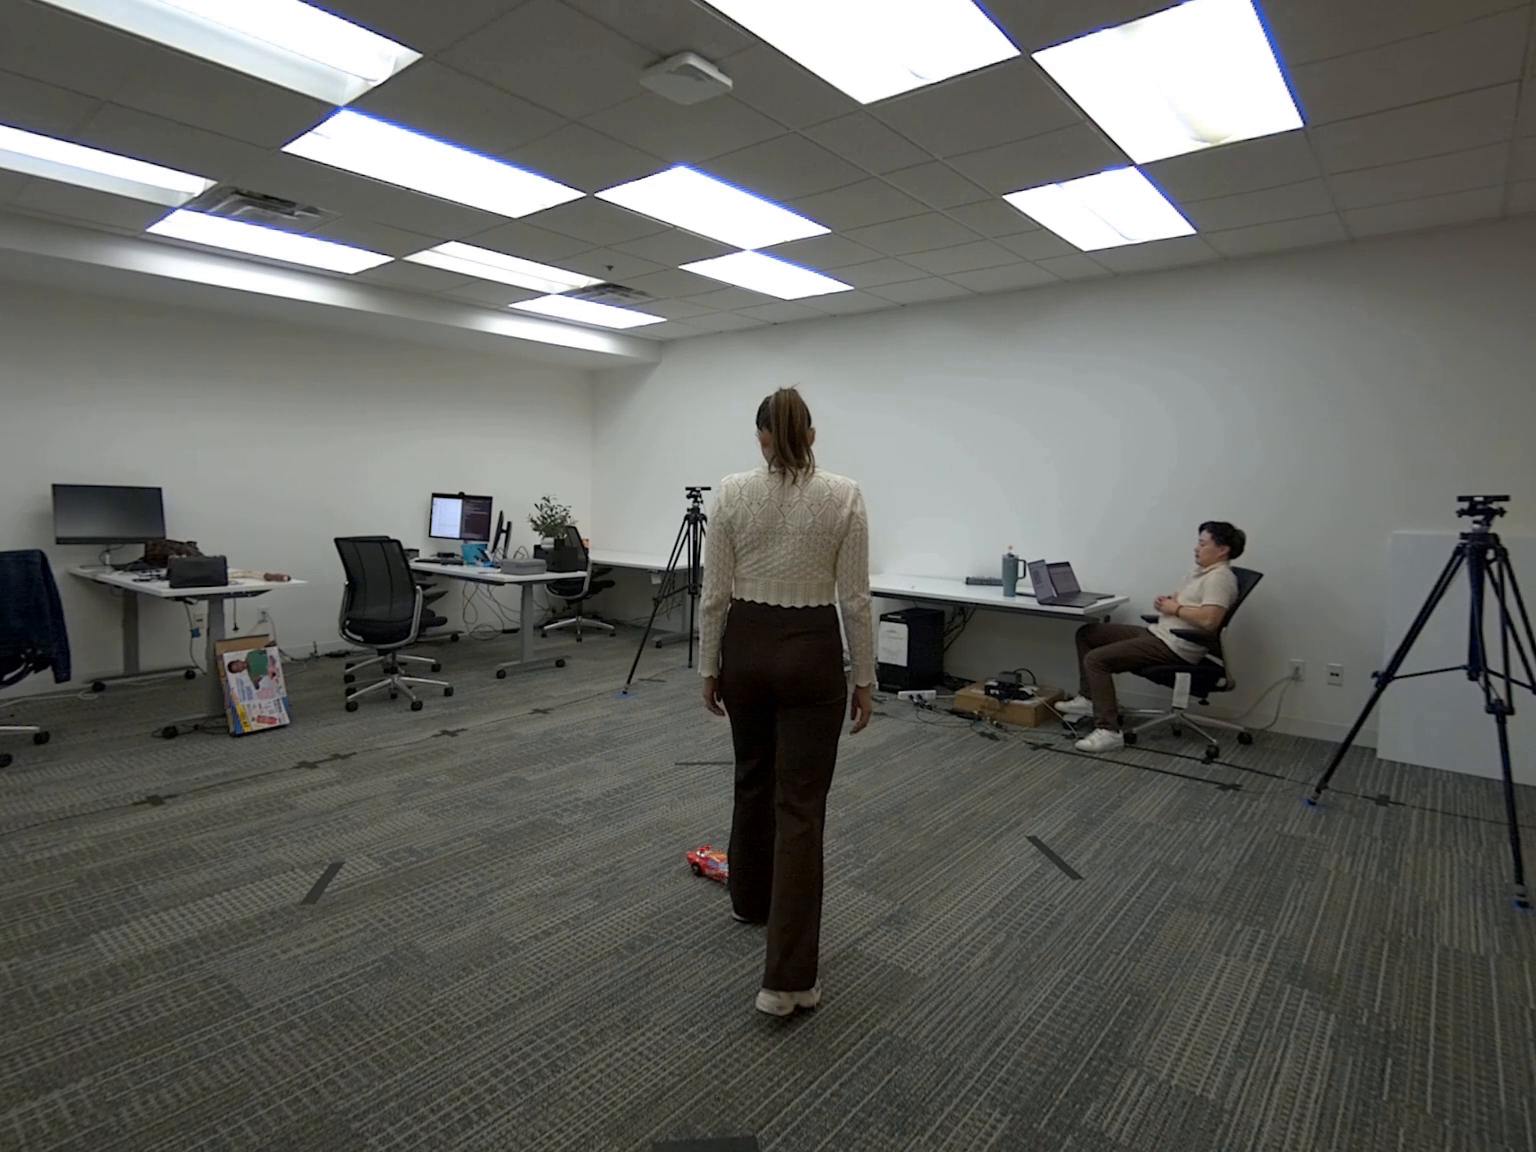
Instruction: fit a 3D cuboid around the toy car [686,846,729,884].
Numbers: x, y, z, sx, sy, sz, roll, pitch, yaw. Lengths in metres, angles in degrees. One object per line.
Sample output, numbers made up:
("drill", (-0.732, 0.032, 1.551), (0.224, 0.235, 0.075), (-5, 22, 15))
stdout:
("toy car", (-0.192, 1.039, 3.049), (0.265, 0.082, 0.126), (21, 16, 40))
